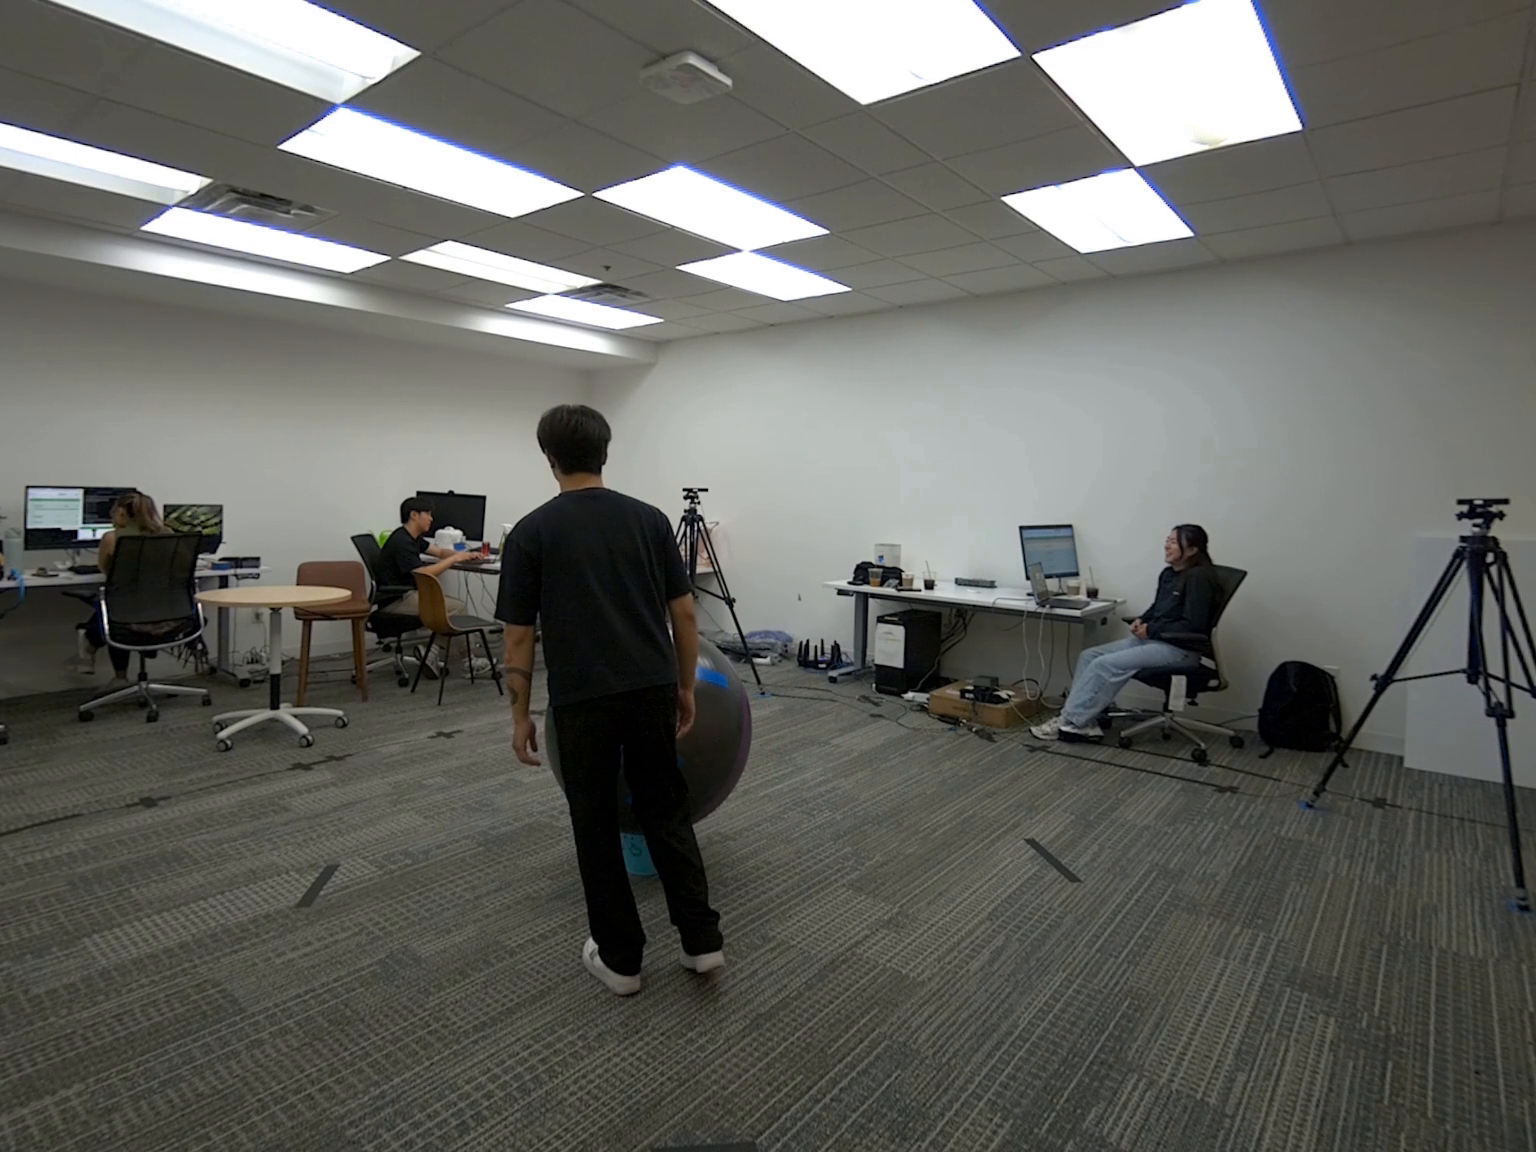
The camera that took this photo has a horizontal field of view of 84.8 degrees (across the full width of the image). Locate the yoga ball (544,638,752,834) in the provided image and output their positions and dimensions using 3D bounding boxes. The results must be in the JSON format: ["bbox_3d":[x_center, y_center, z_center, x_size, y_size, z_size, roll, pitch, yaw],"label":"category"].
[{"bbox_3d":[-0.443,0.551,3.133,0.757,0.756,0.762,1,4,-2],"label":"yoga ball"}]
